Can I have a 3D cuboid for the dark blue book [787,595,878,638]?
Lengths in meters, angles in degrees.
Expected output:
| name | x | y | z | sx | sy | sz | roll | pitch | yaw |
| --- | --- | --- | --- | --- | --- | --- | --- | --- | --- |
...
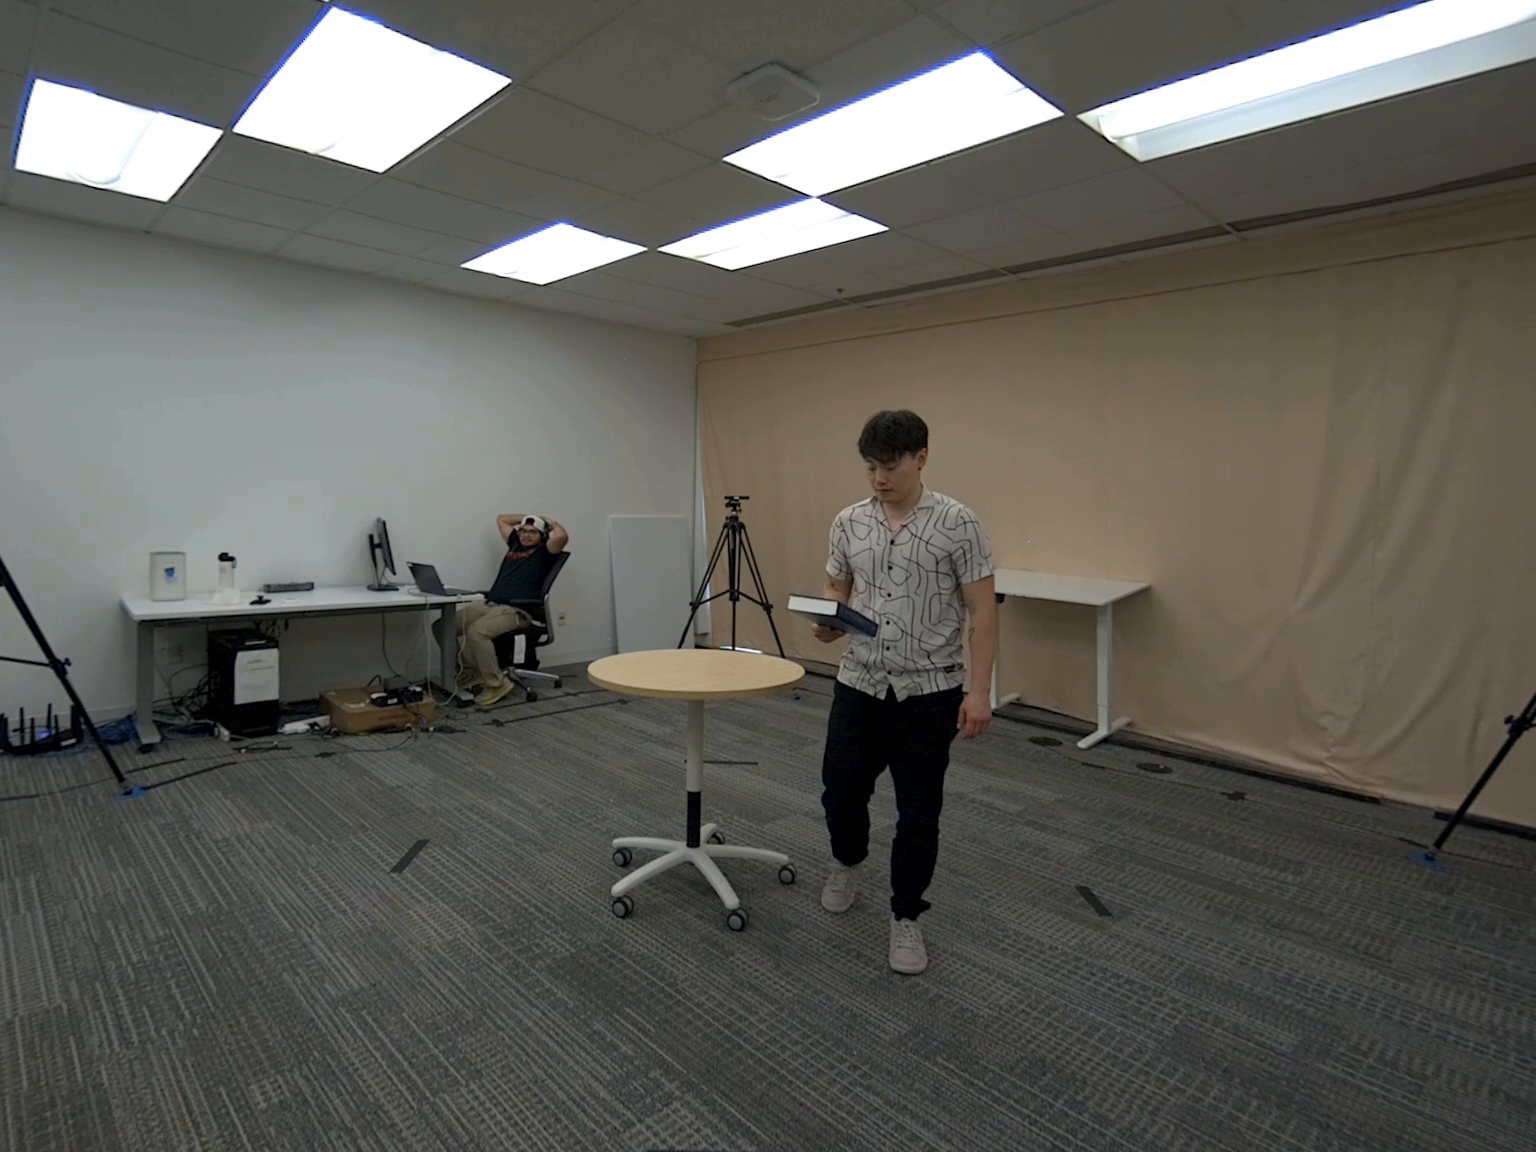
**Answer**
| name | x | y | z | sx | sy | sz | roll | pitch | yaw |
| --- | --- | --- | --- | --- | --- | --- | --- | --- | --- |
| dark blue book | 0.180 | 0.110 | 2.383 | 0.167 | 0.045 | 0.237 | 6 | -13 | 36 |
